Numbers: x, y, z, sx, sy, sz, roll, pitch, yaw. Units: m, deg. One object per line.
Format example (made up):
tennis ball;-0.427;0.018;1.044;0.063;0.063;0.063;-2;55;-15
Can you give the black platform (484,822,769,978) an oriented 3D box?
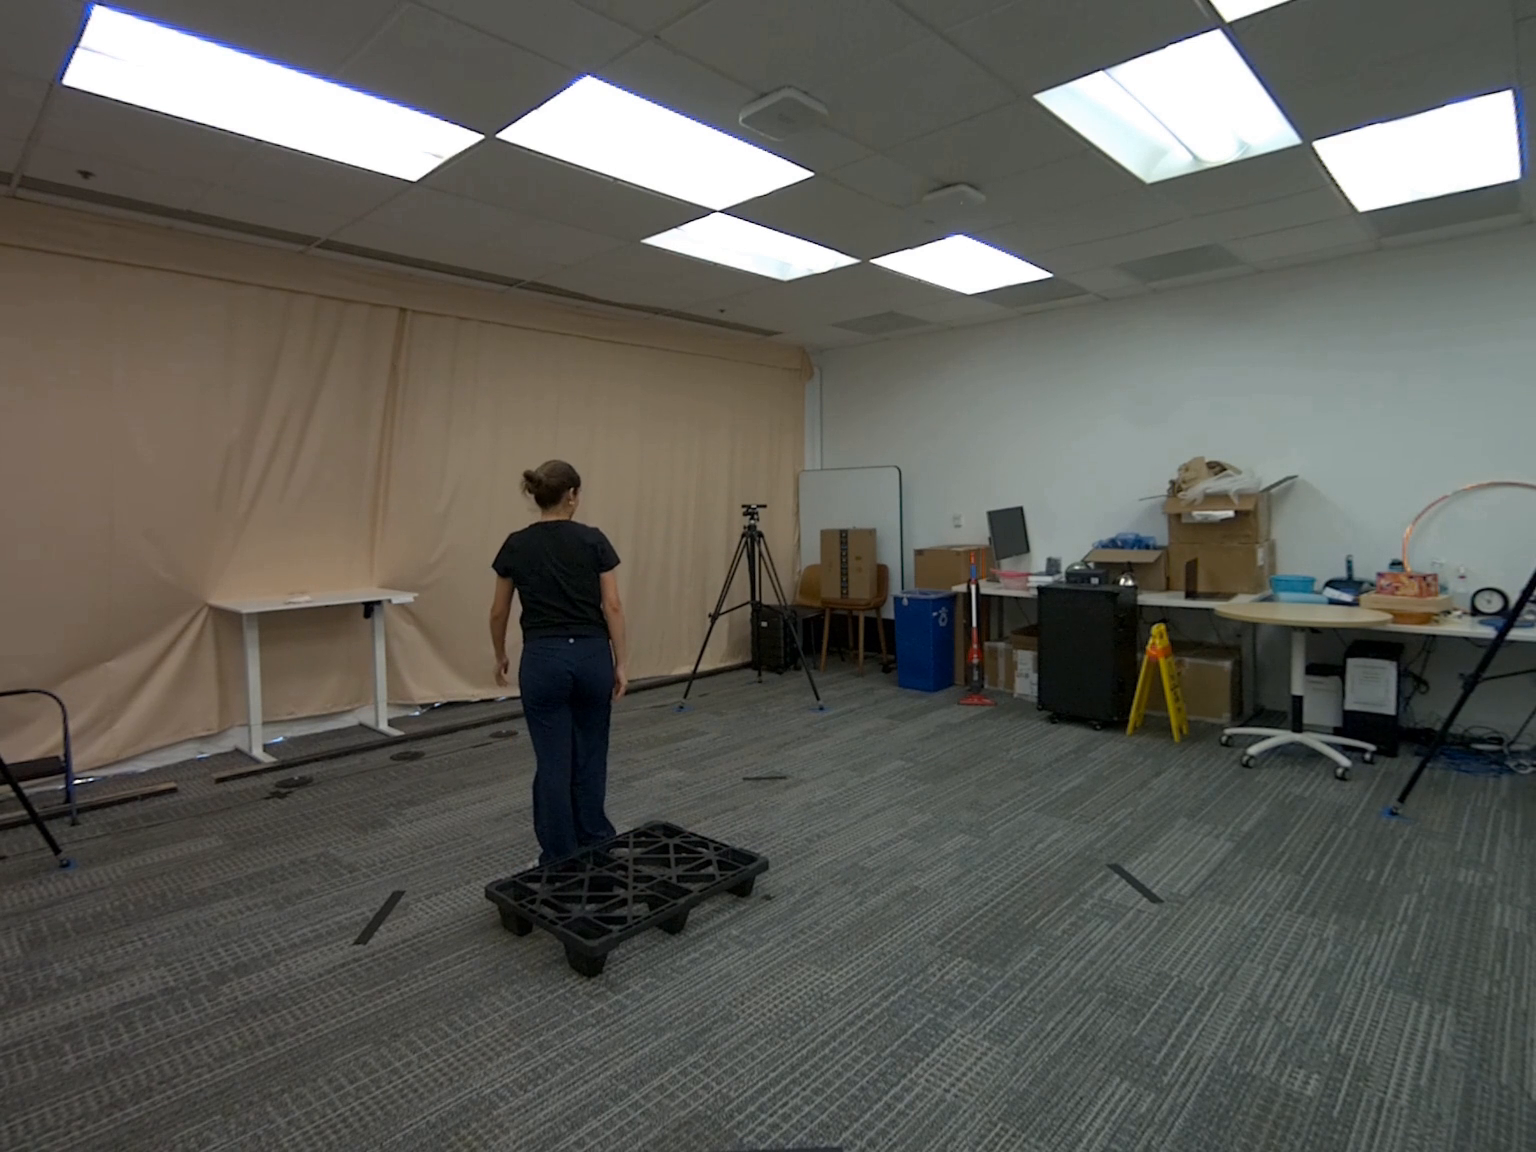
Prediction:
black platform;-0.449;1.090;2.908;0.625;0.143;0.782;4;7;41
